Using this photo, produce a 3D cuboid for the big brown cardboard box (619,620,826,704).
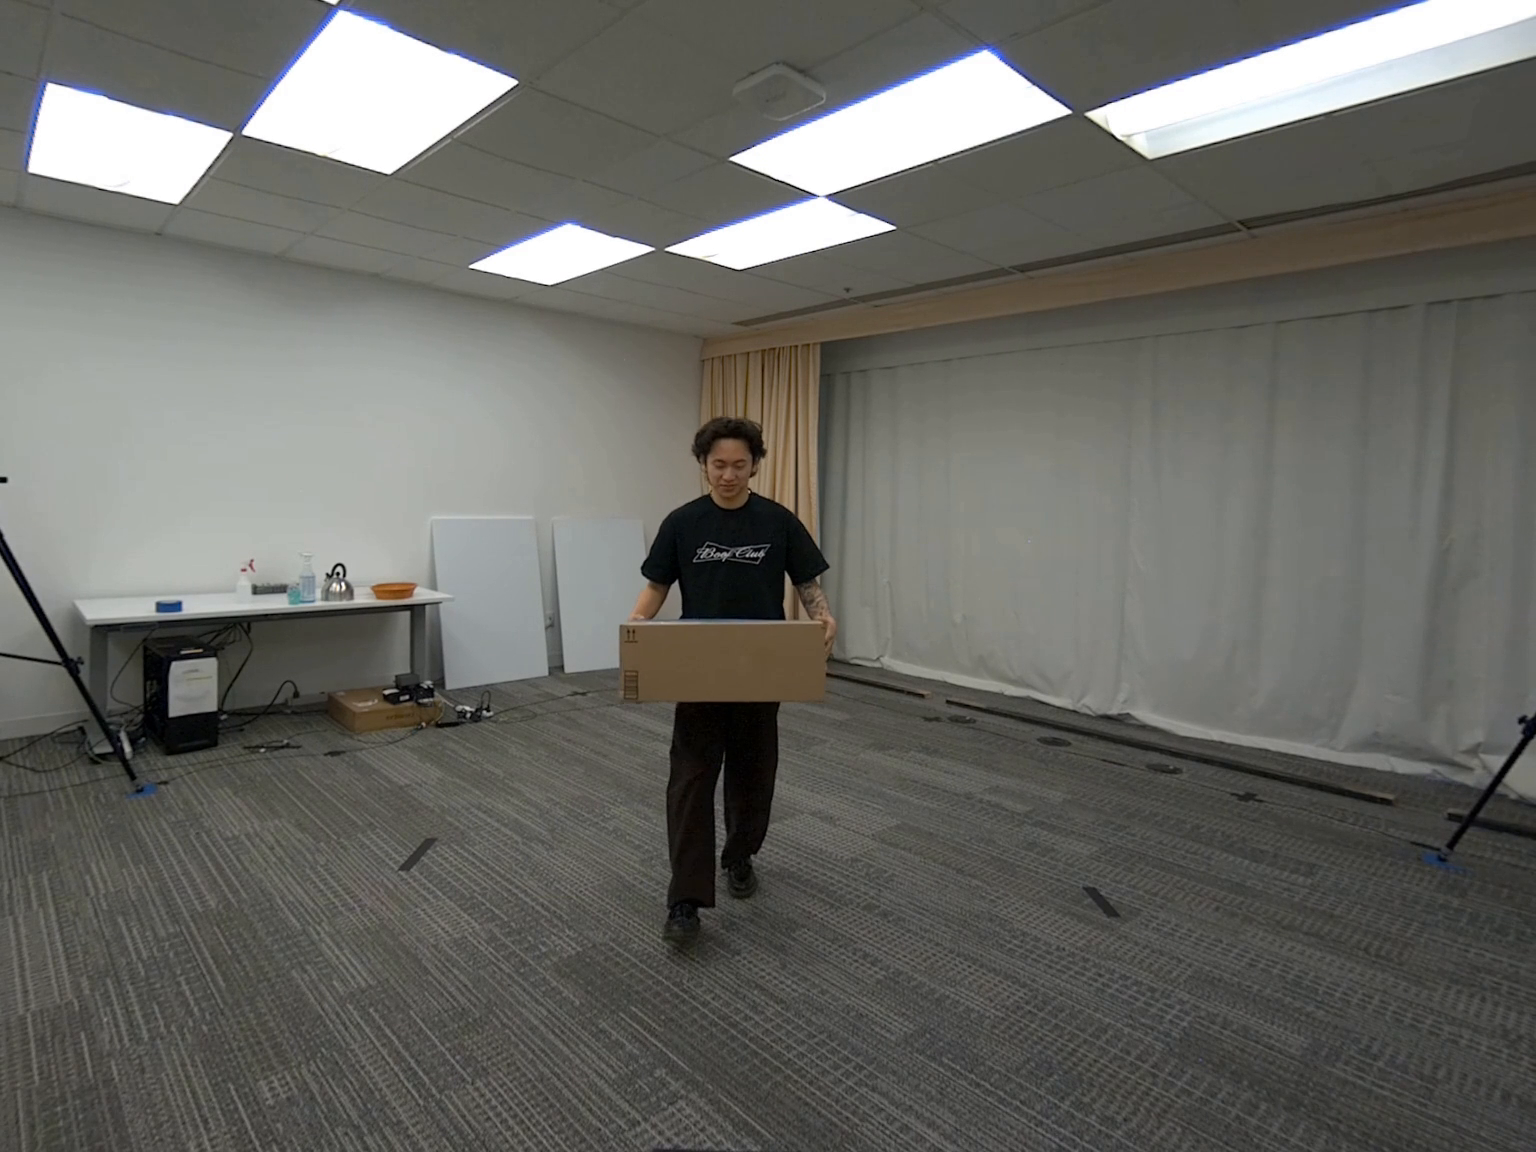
[{"bbox_3d":[-0.137,0.244,2.499,0.590,0.234,0.416,1,-2,1],"label":"big brown cardboard box"}]
